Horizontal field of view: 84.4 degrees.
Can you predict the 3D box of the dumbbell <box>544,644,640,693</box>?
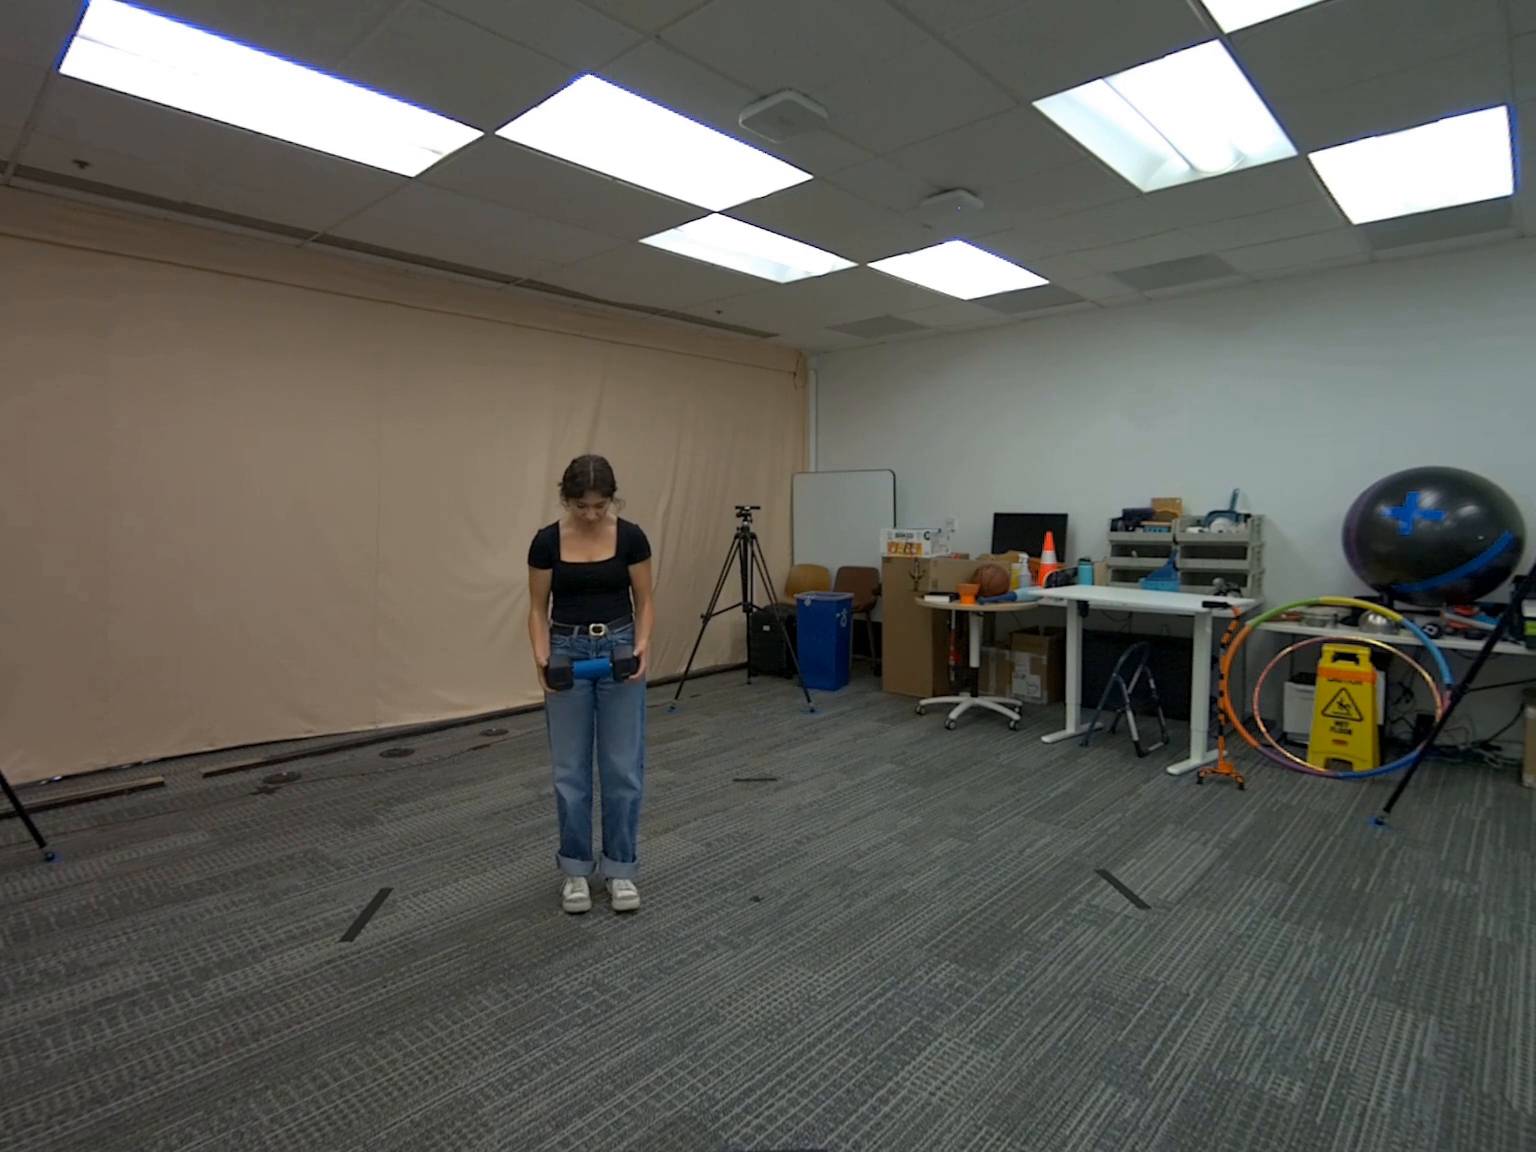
[{"bbox_3d":[-0.581,0.301,2.816,0.290,0.111,0.121,-5,-31,-11],"label":"dumbbell"}]
